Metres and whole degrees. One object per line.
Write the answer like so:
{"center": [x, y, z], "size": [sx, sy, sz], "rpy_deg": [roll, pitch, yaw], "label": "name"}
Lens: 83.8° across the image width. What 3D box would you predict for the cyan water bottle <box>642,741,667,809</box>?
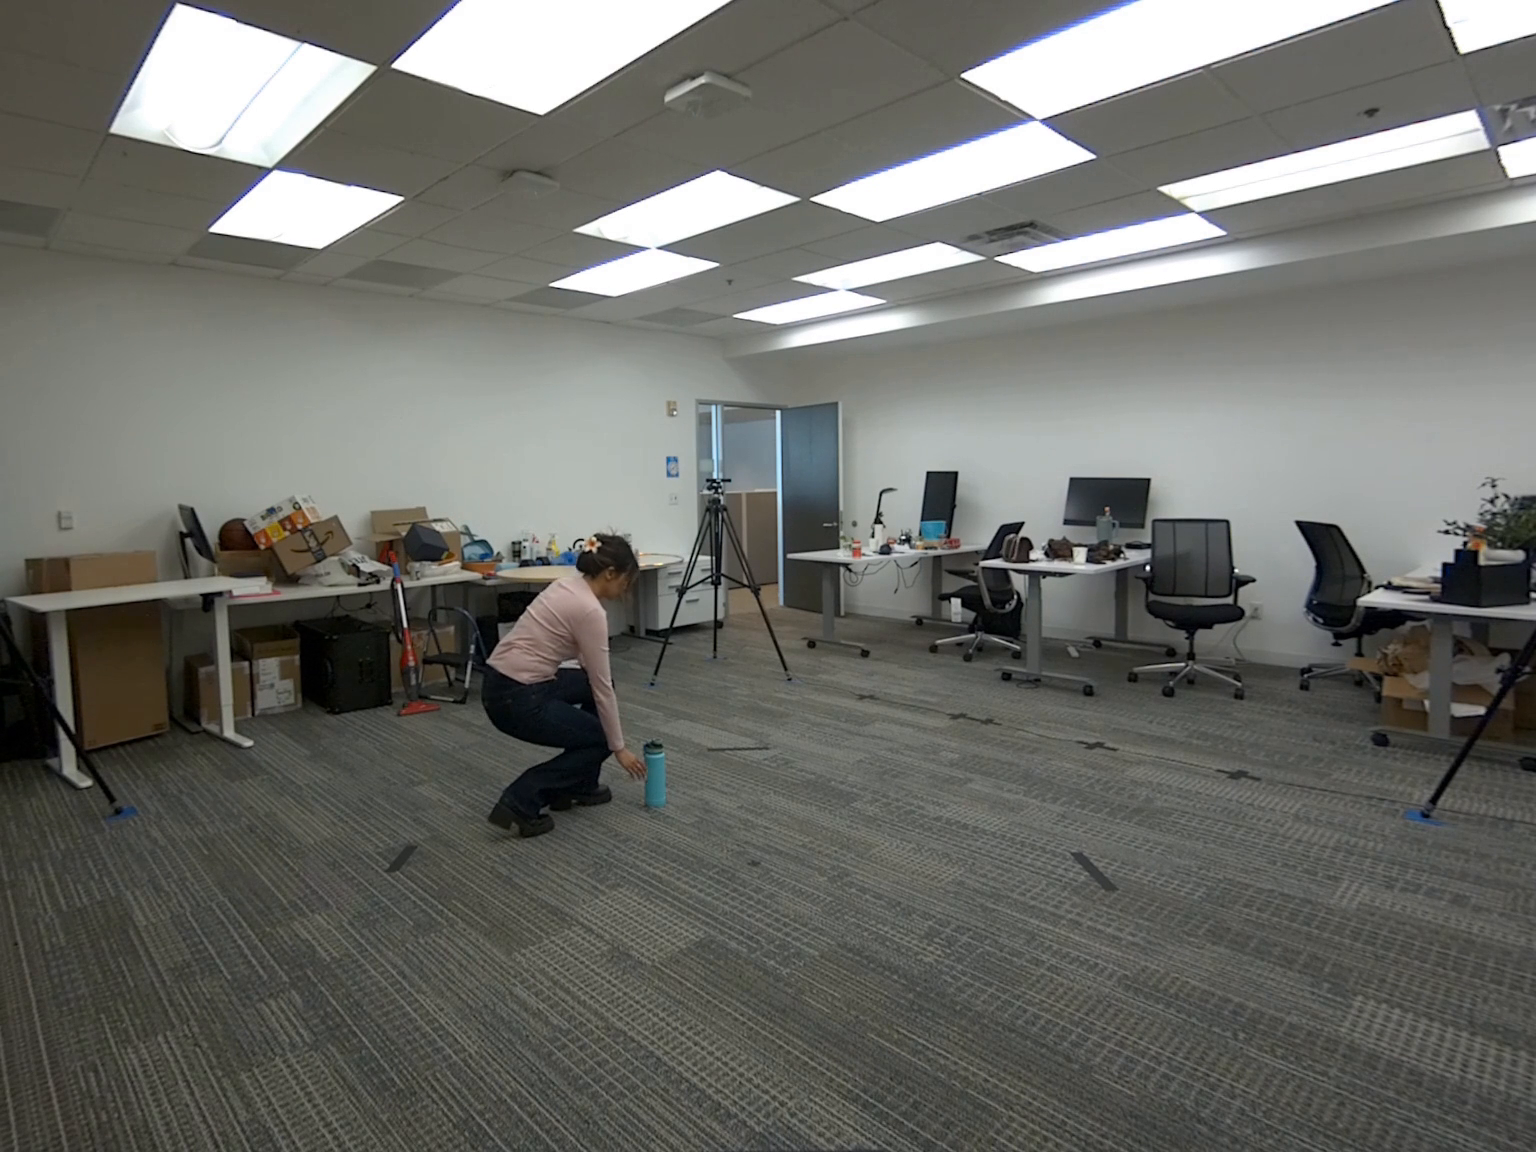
{"center": [-0.492, 0.842, 3.690], "size": [0.092, 0.283, 0.092], "rpy_deg": [-2, 3, -2], "label": "cyan water bottle"}
